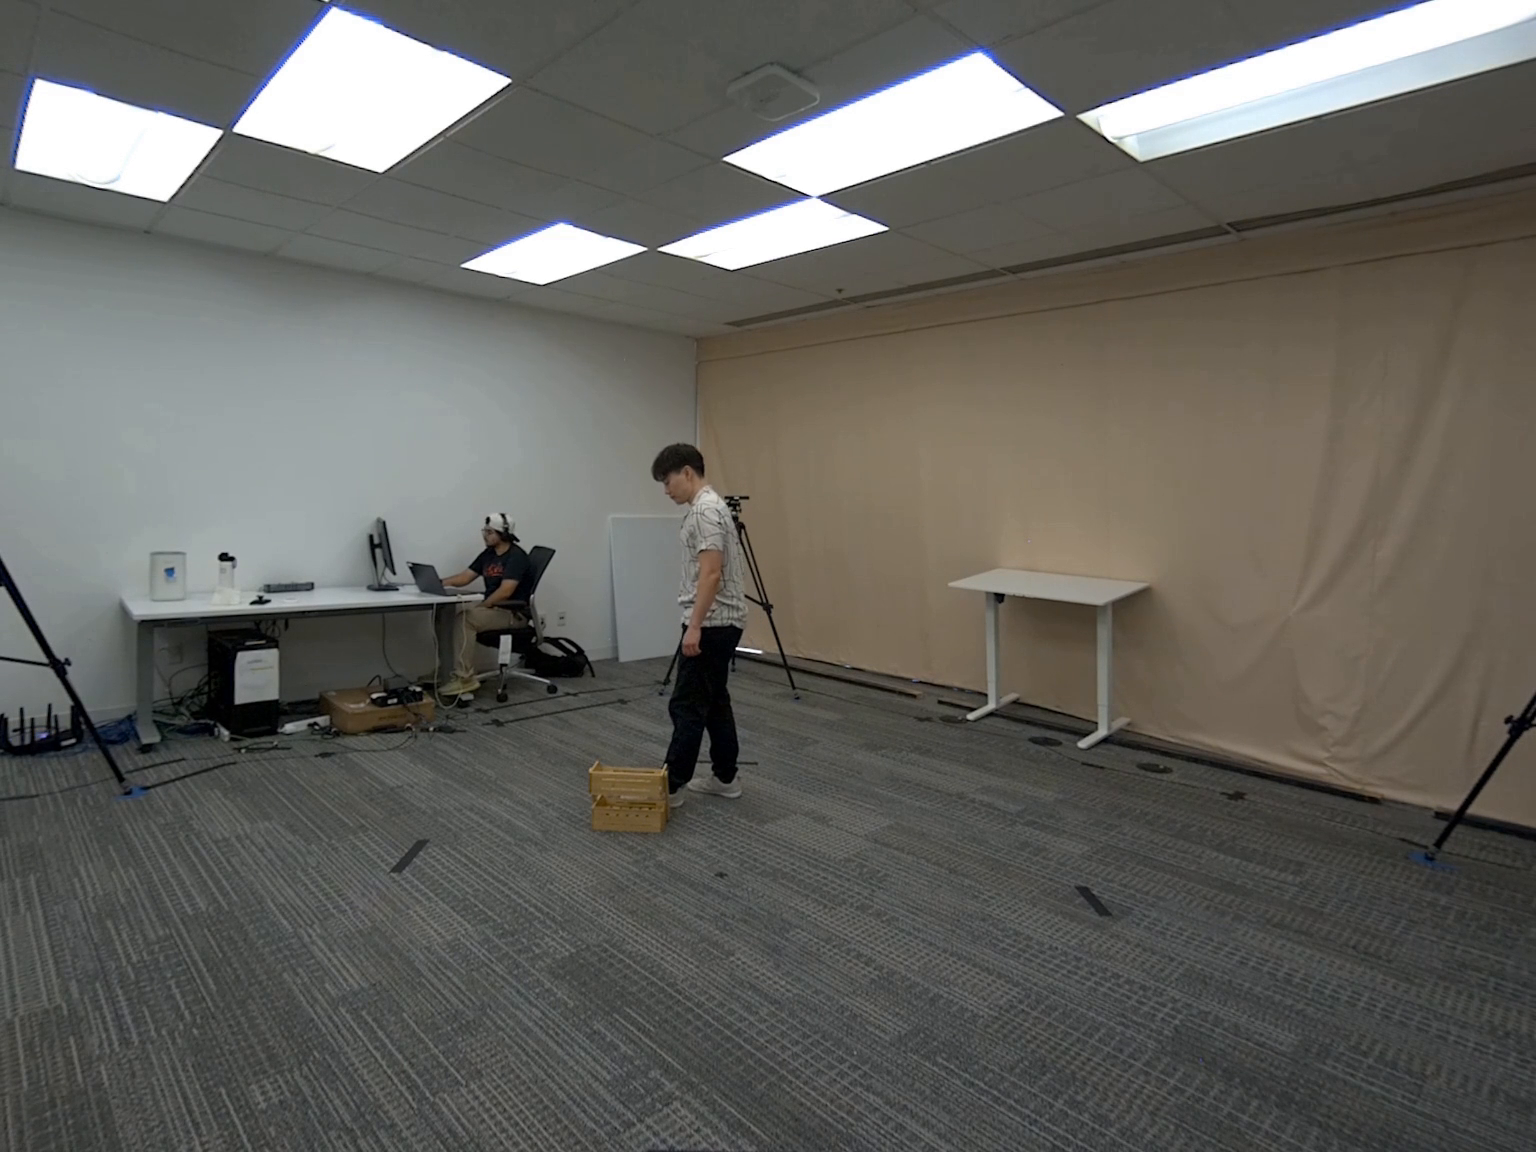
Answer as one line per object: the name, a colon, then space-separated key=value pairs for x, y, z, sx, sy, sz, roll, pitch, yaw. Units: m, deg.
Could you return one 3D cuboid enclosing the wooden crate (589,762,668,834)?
wooden crate: x=-0.595 y=0.918 z=3.590 sx=0.325 sy=0.272 sz=0.303 roll=2 pitch=5 yaw=0
